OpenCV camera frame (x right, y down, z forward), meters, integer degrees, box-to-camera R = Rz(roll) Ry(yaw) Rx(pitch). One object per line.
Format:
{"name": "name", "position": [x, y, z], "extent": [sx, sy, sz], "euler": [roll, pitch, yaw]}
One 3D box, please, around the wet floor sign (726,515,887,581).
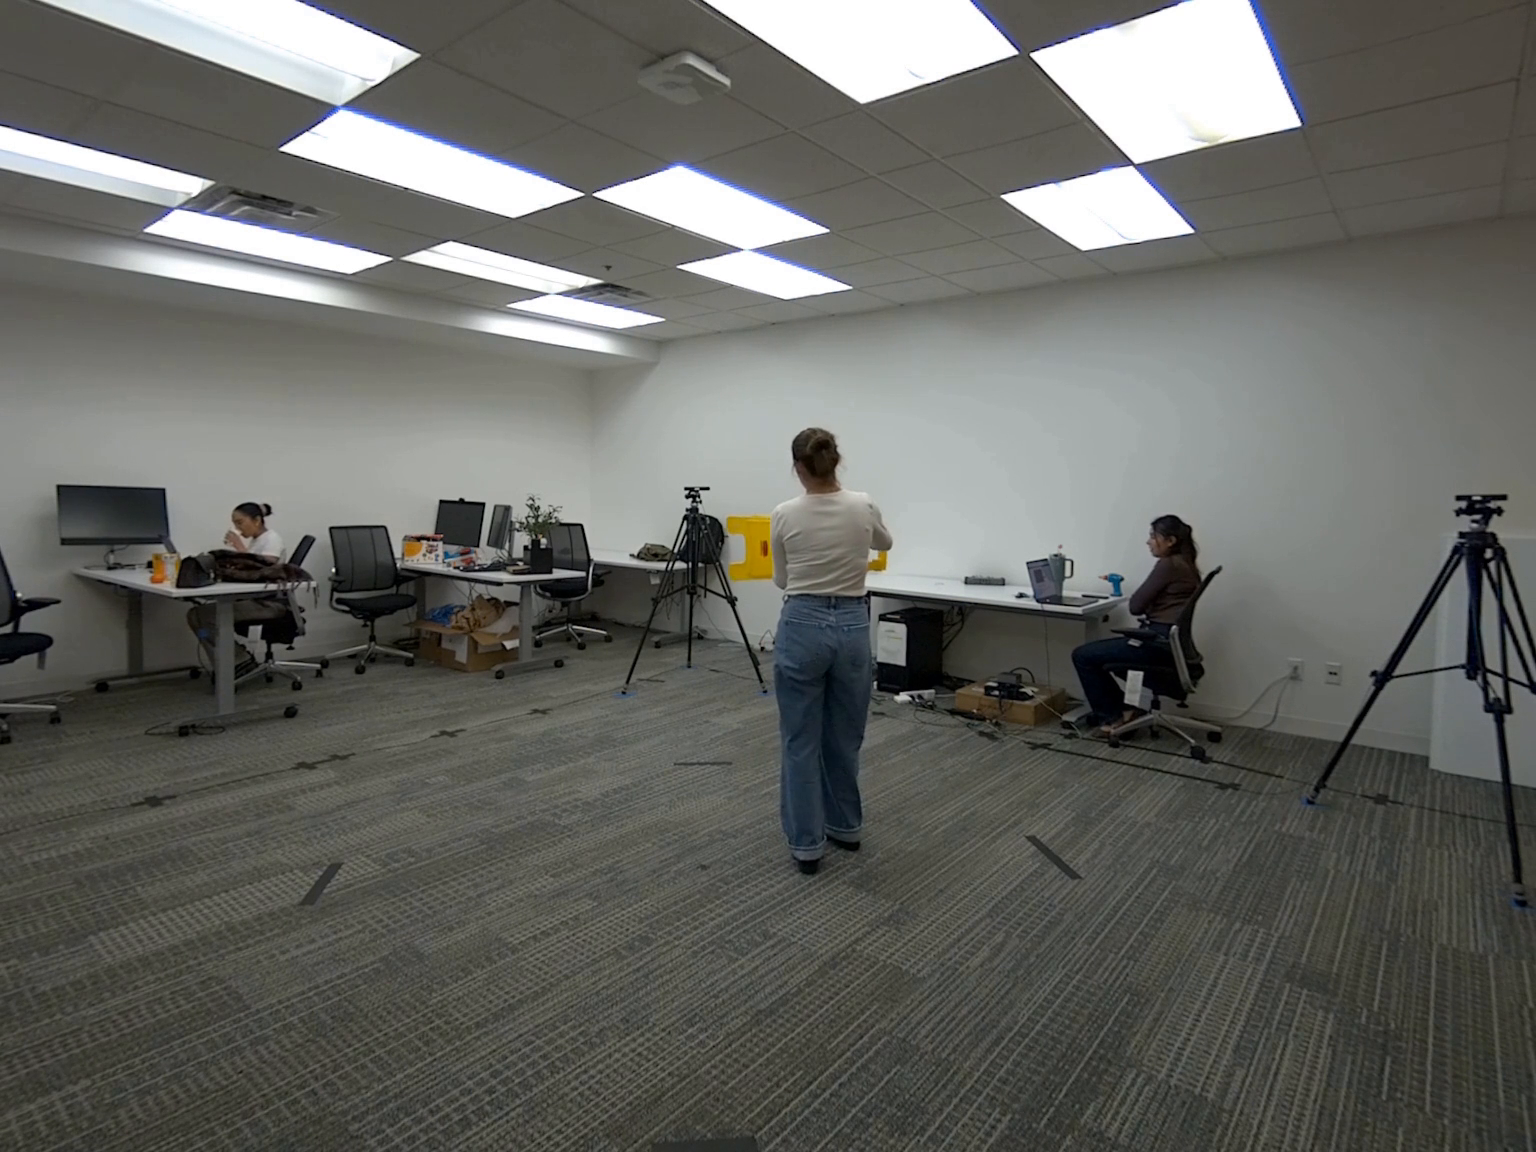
{"name": "wet floor sign", "position": [0.169, -0.125, 3.602], "extent": [0.662, 0.281, 0.283], "euler": [1, 4, 24]}
